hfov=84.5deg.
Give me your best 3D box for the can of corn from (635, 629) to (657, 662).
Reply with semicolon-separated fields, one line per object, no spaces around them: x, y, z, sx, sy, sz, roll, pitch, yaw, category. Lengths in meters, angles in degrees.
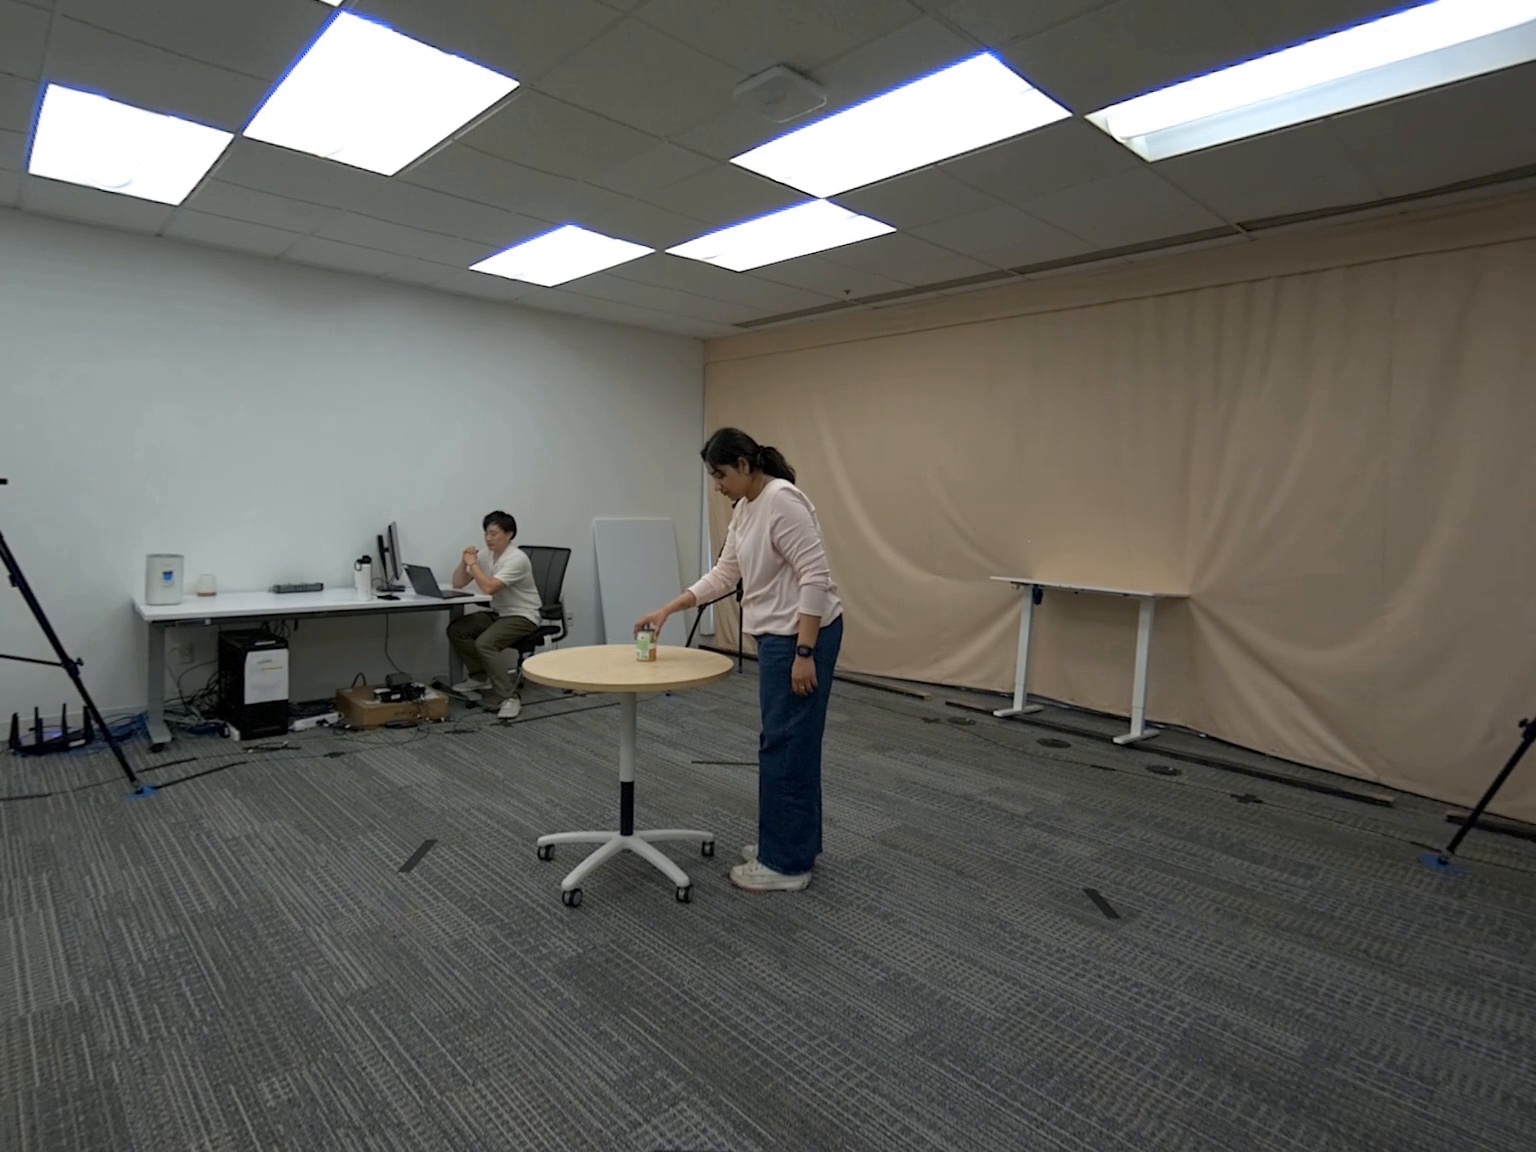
-0.456;0.254;3.133;0.074;0.111;0.074;3;-2;-1;can of corn
